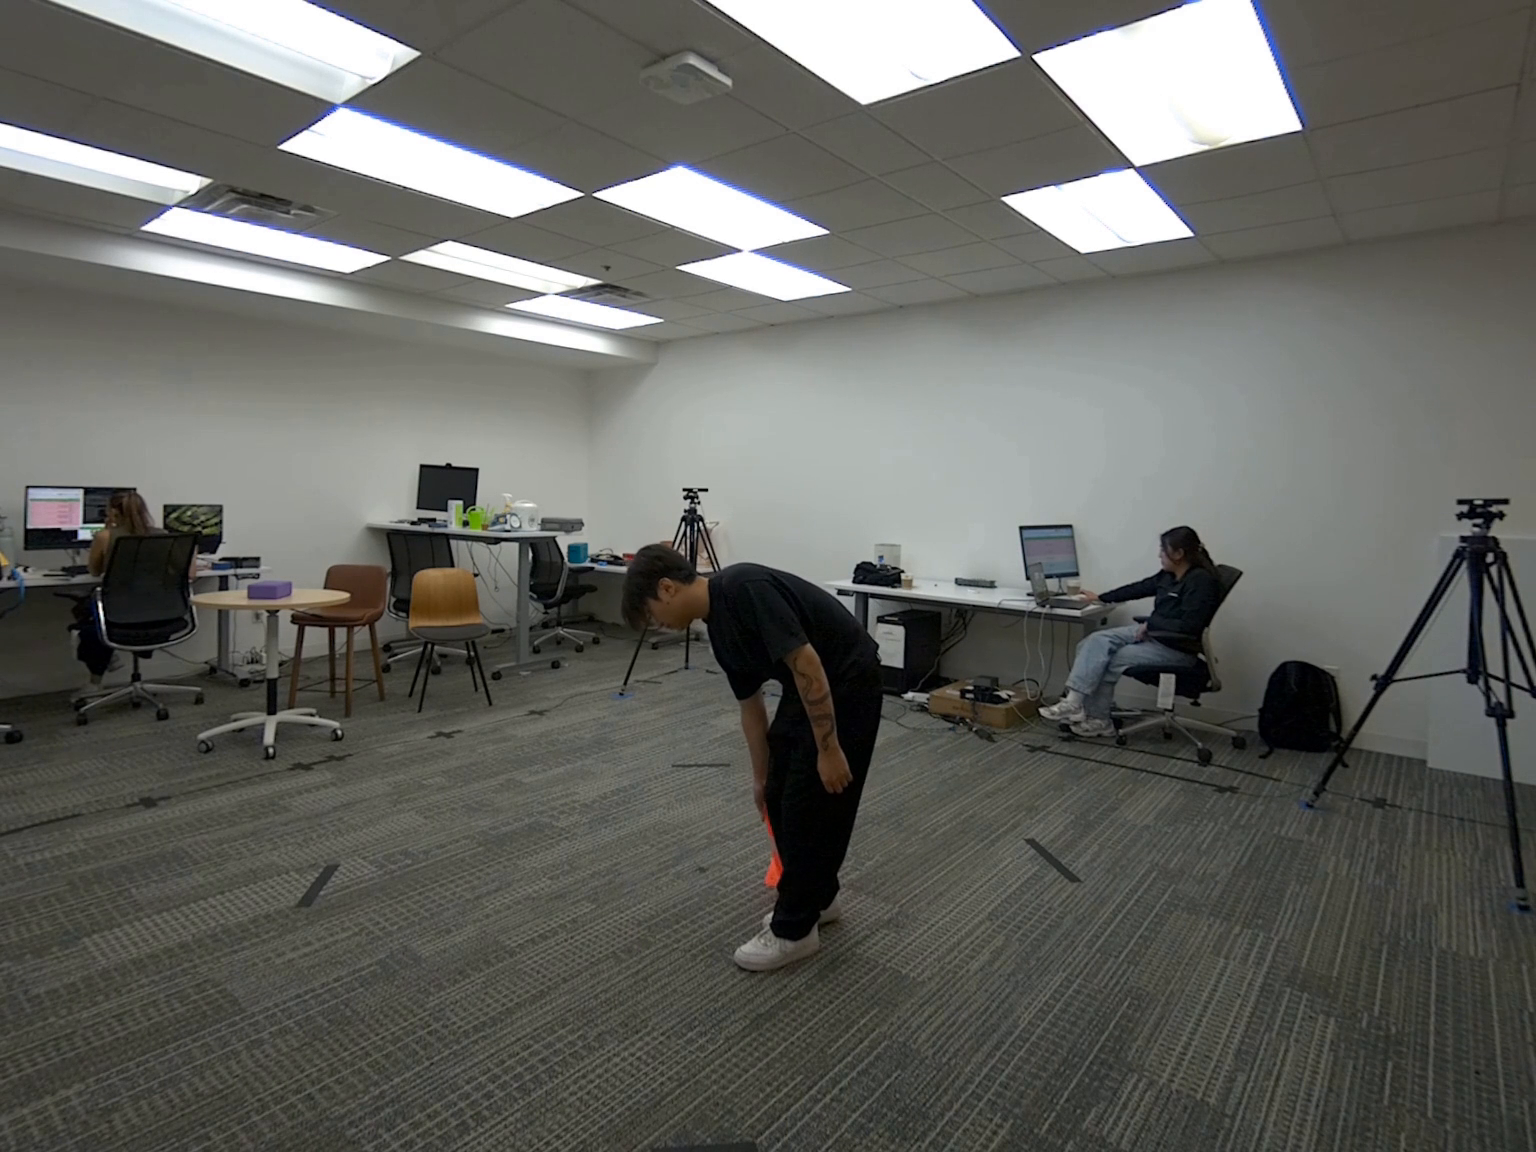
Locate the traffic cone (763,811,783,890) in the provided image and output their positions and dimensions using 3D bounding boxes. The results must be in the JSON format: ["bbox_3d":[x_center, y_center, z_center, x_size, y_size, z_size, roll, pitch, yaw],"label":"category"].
[{"bbox_3d":[0.050,0.888,2.898,0.209,0.370,0.207,5,45,25],"label":"traffic cone"}]
